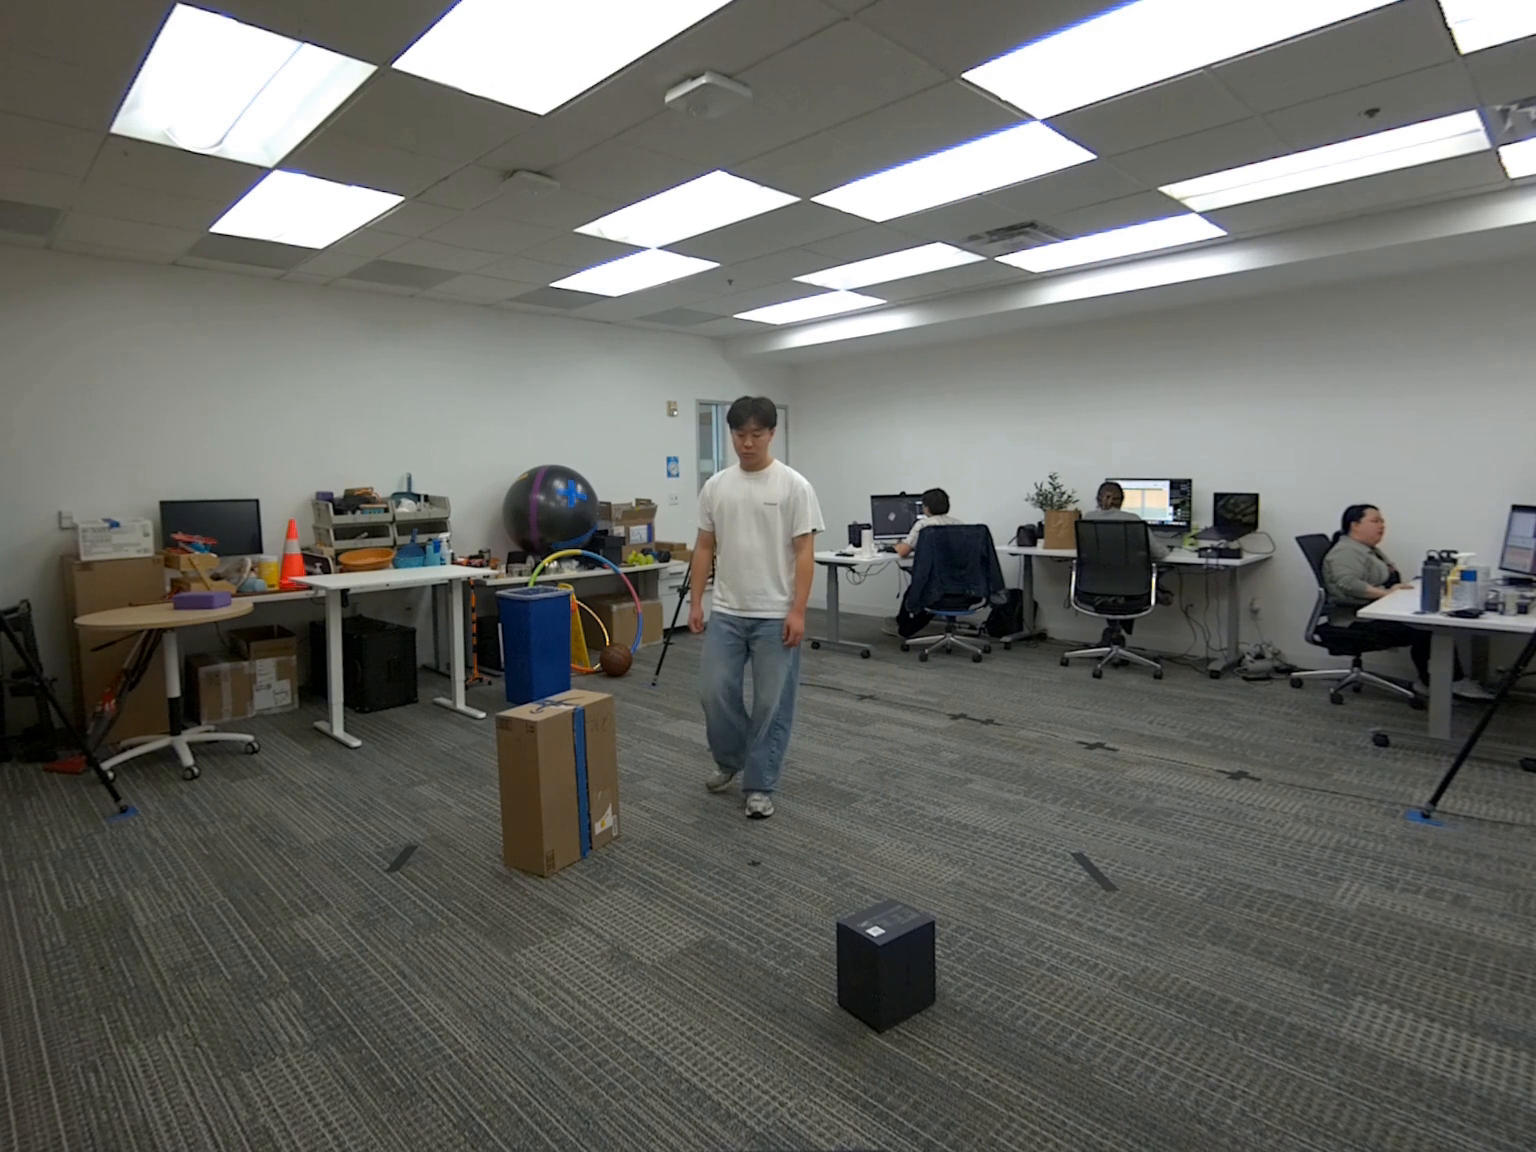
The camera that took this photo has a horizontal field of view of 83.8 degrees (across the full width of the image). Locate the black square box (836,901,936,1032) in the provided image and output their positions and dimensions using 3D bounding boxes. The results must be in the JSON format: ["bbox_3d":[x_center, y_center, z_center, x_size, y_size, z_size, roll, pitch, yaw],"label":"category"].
[{"bbox_3d":[0.322,1.021,2.255,0.211,0.227,0.160,-5,5,-38],"label":"black square box"}]
